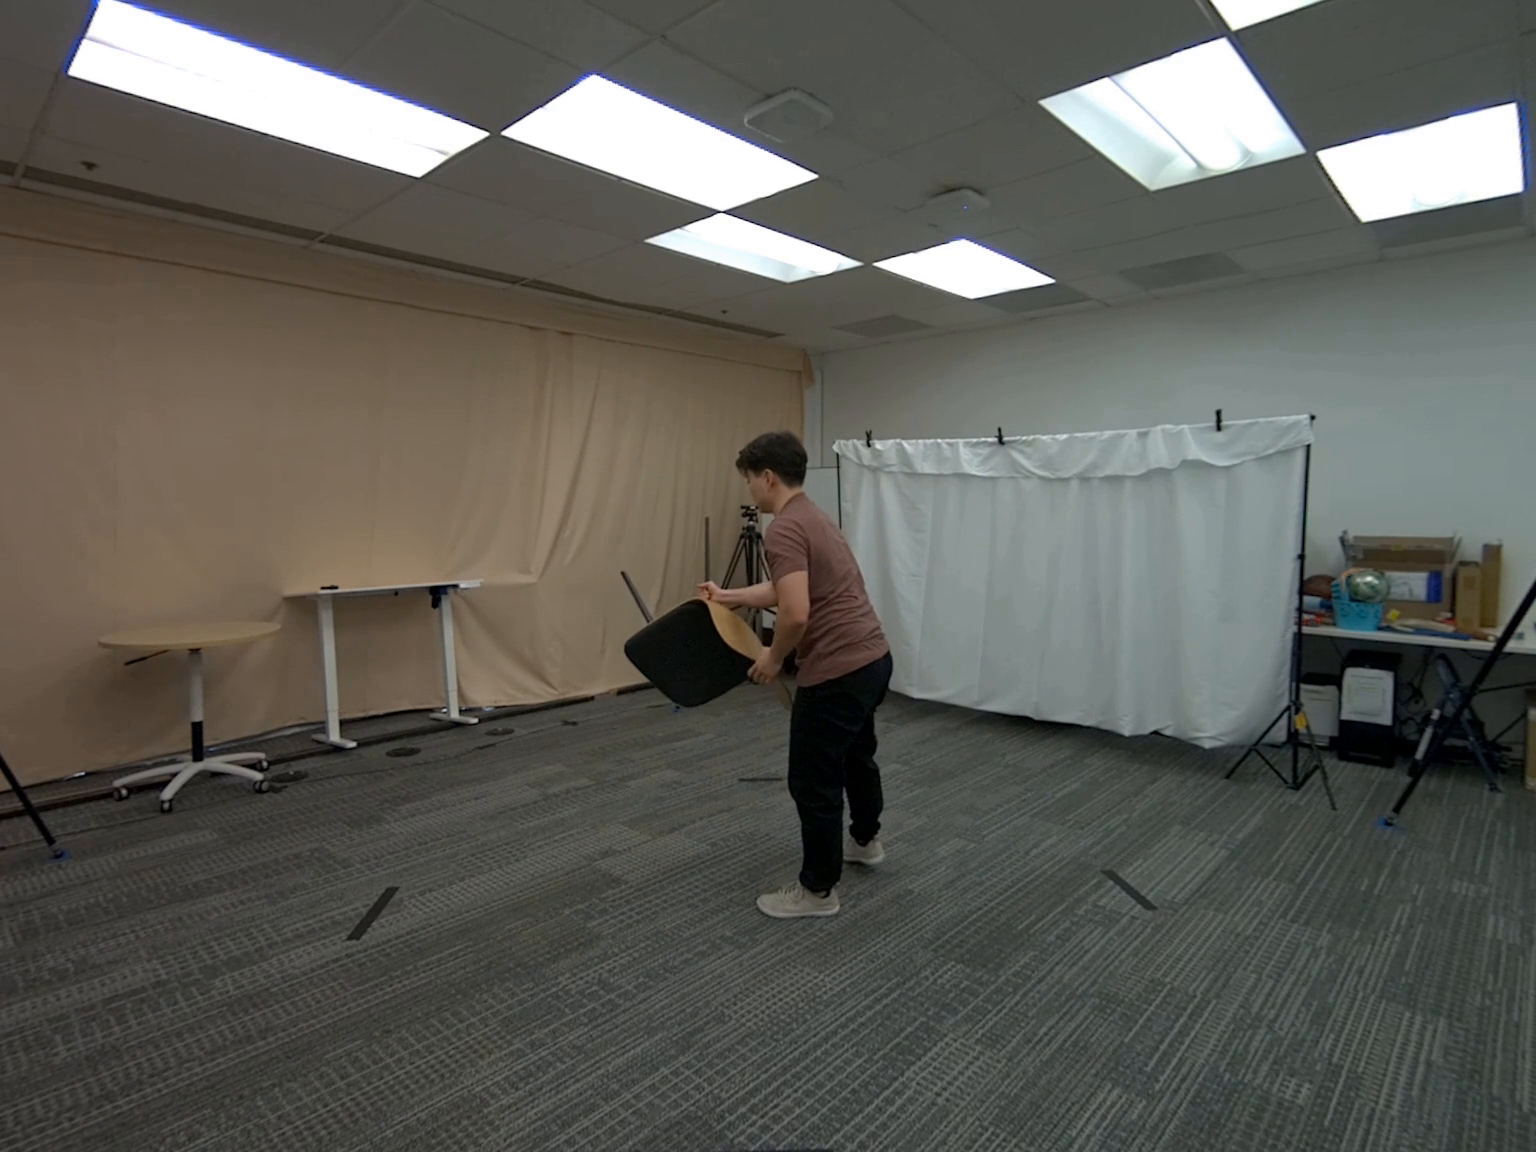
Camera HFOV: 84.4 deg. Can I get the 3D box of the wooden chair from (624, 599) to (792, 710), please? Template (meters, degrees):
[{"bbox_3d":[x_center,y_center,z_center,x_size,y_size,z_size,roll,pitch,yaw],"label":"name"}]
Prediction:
[{"bbox_3d":[-0.263,0.266,3.288,0.526,0.463,0.900,-34,34,9],"label":"wooden chair"}]
